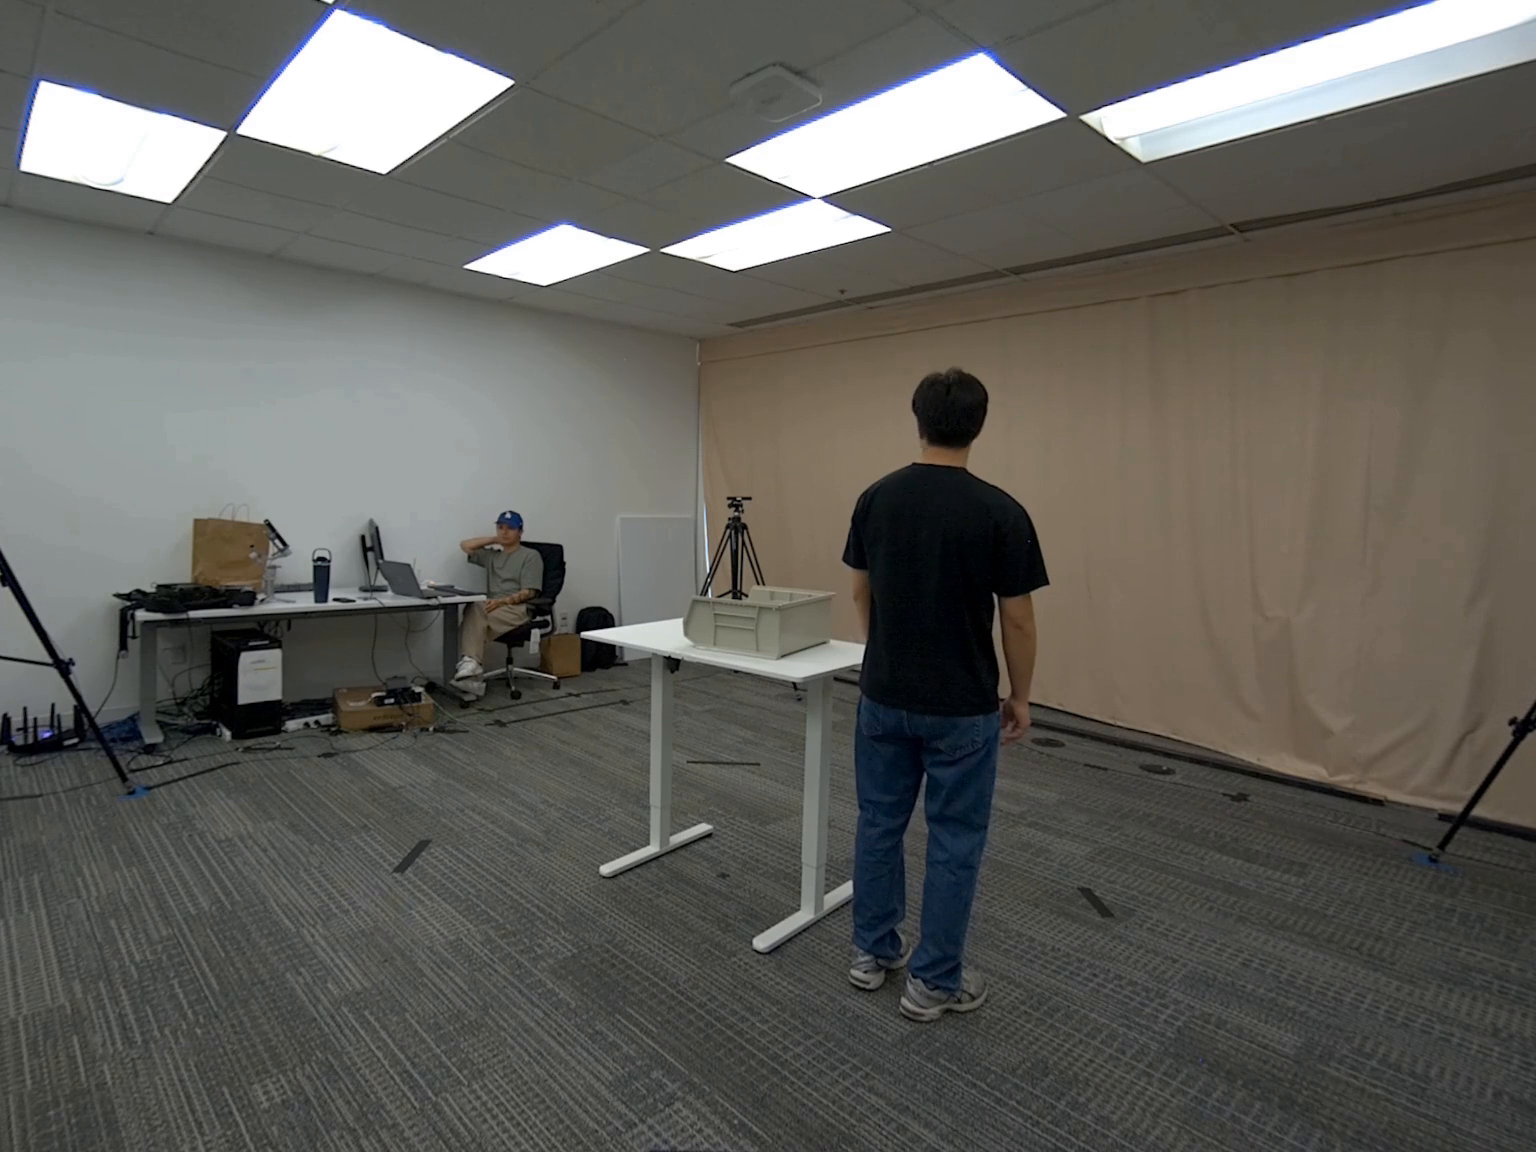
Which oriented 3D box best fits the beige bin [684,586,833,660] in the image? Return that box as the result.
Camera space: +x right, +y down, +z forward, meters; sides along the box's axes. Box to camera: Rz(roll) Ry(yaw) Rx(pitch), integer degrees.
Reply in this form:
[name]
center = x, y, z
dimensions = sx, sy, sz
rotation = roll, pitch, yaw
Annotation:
[beige bin]
center = -0.029, 0.158, 2.932
dimensions = 0.386, 0.188, 0.414
rotation = 5, 6, 30
